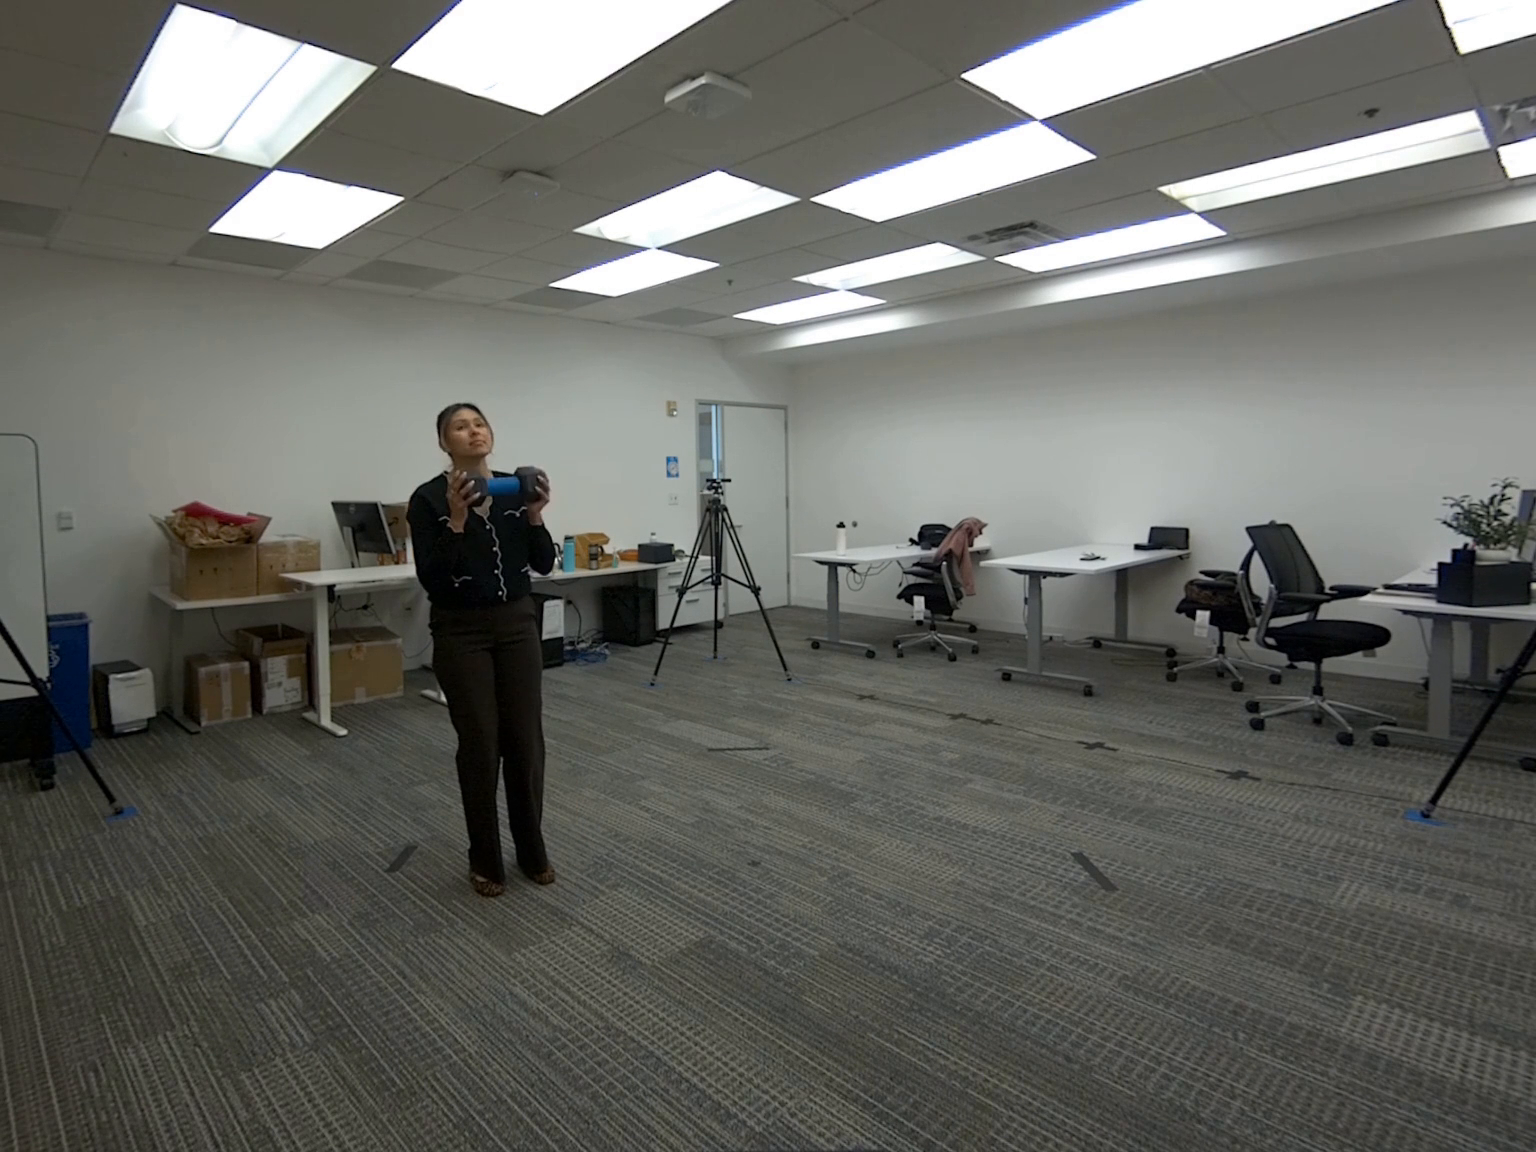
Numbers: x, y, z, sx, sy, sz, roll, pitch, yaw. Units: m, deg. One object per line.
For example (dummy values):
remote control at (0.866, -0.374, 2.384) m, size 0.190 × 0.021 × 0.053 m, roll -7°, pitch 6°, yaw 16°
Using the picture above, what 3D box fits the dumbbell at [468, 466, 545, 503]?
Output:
dumbbell at (-0.905, -0.282, 2.854) m, size 0.287 × 0.123 × 0.111 m, roll -12°, pitch -1°, yaw -42°
